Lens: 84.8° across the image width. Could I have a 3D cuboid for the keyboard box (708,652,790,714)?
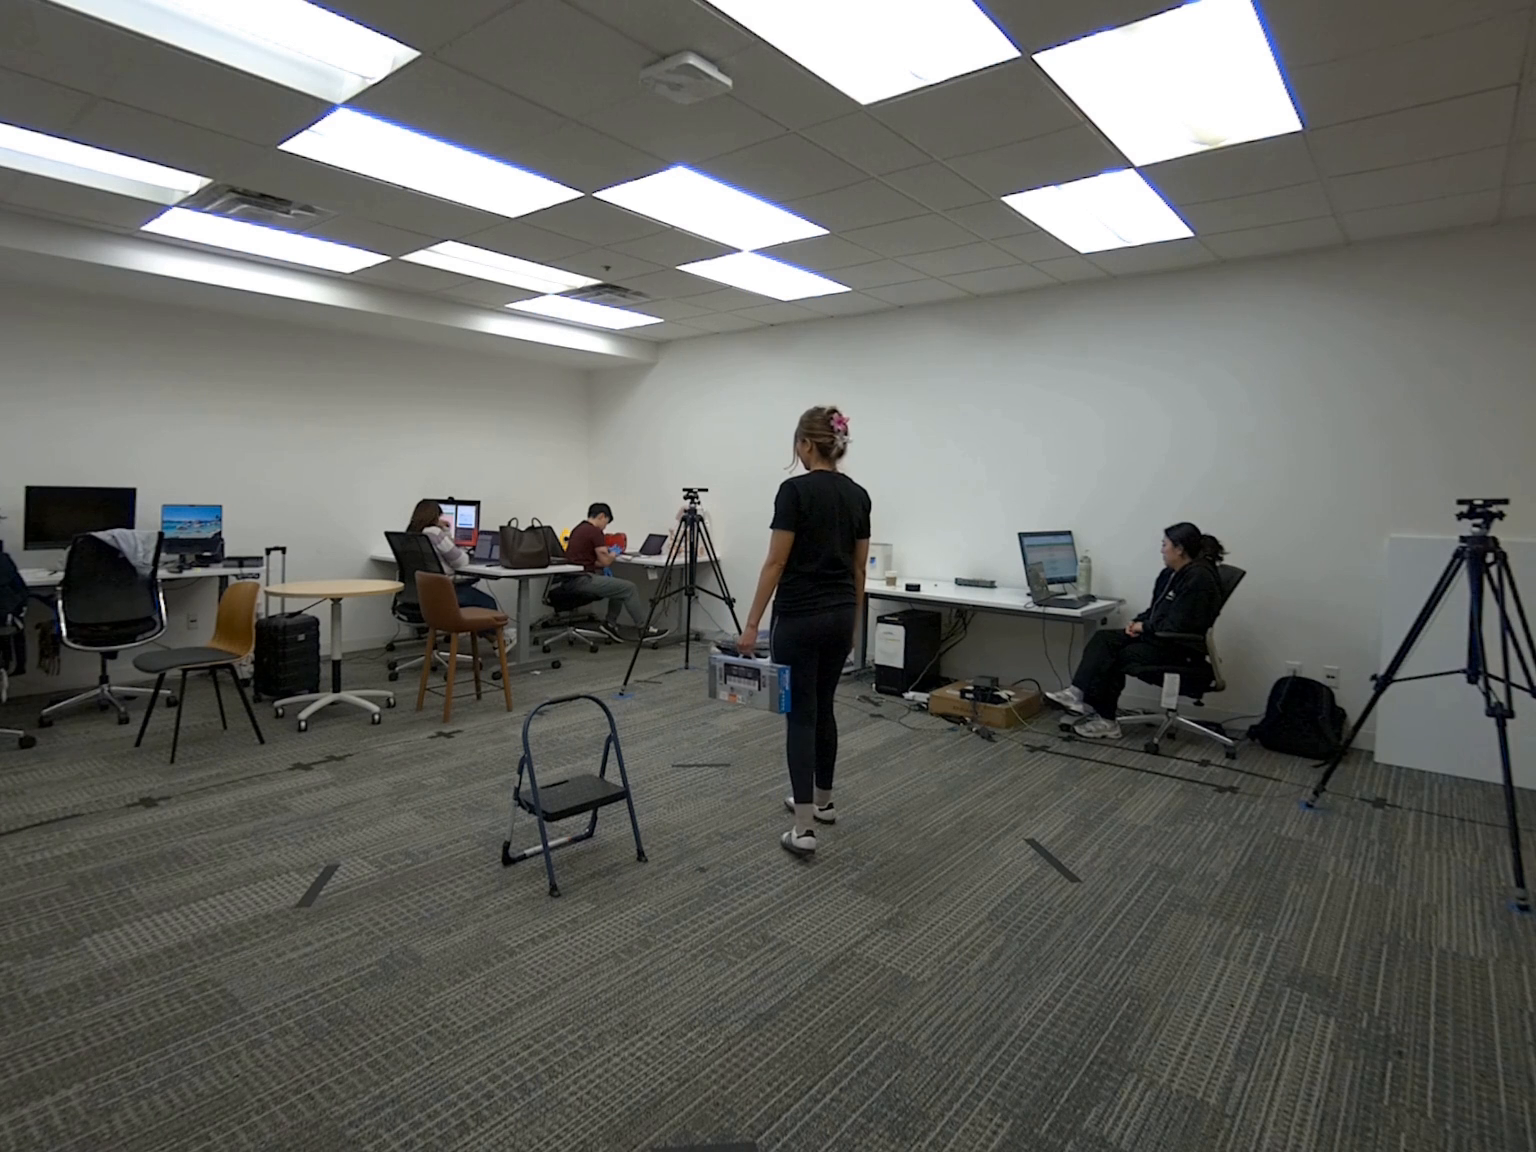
[{"bbox_3d":[-0.091,0.416,3.328,0.057,0.176,0.451,-1,2,-40],"label":"keyboard box"}]
